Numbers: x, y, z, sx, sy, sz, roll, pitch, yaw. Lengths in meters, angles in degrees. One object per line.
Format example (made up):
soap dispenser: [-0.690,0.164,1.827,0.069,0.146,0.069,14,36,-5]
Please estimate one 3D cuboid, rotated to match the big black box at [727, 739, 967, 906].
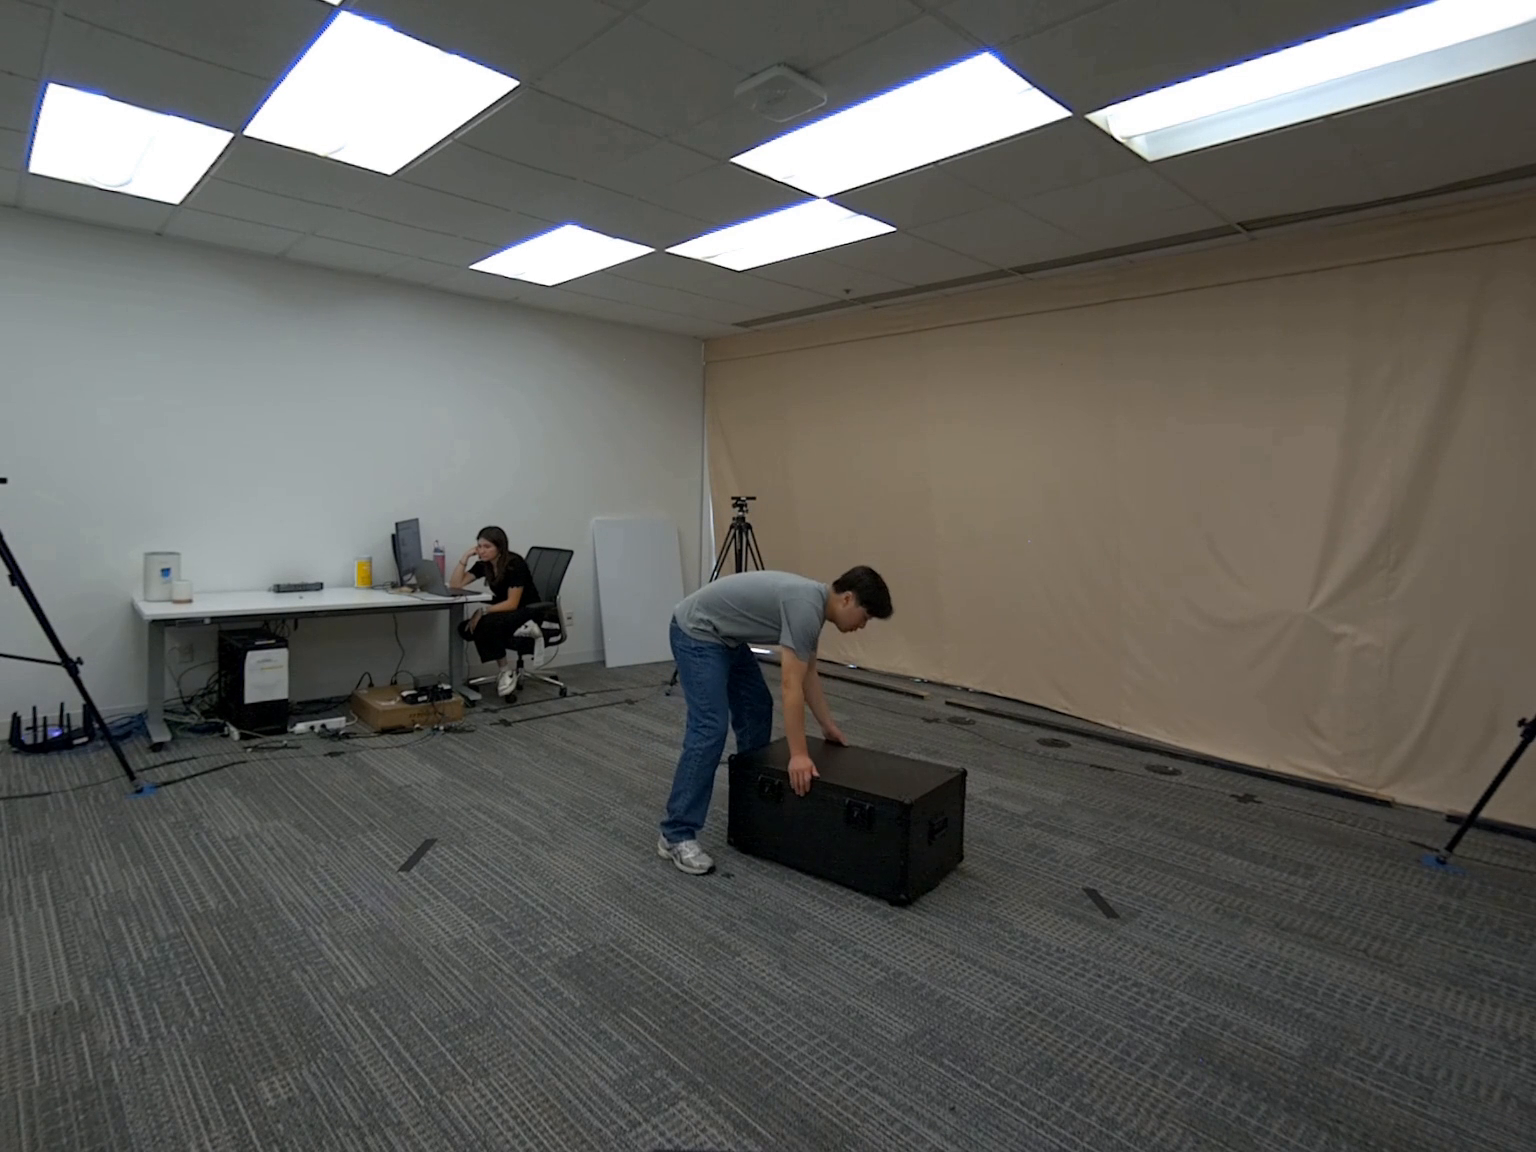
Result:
big black box: [0.267,0.912,3.288,0.882,0.395,0.510,5,5,37]
